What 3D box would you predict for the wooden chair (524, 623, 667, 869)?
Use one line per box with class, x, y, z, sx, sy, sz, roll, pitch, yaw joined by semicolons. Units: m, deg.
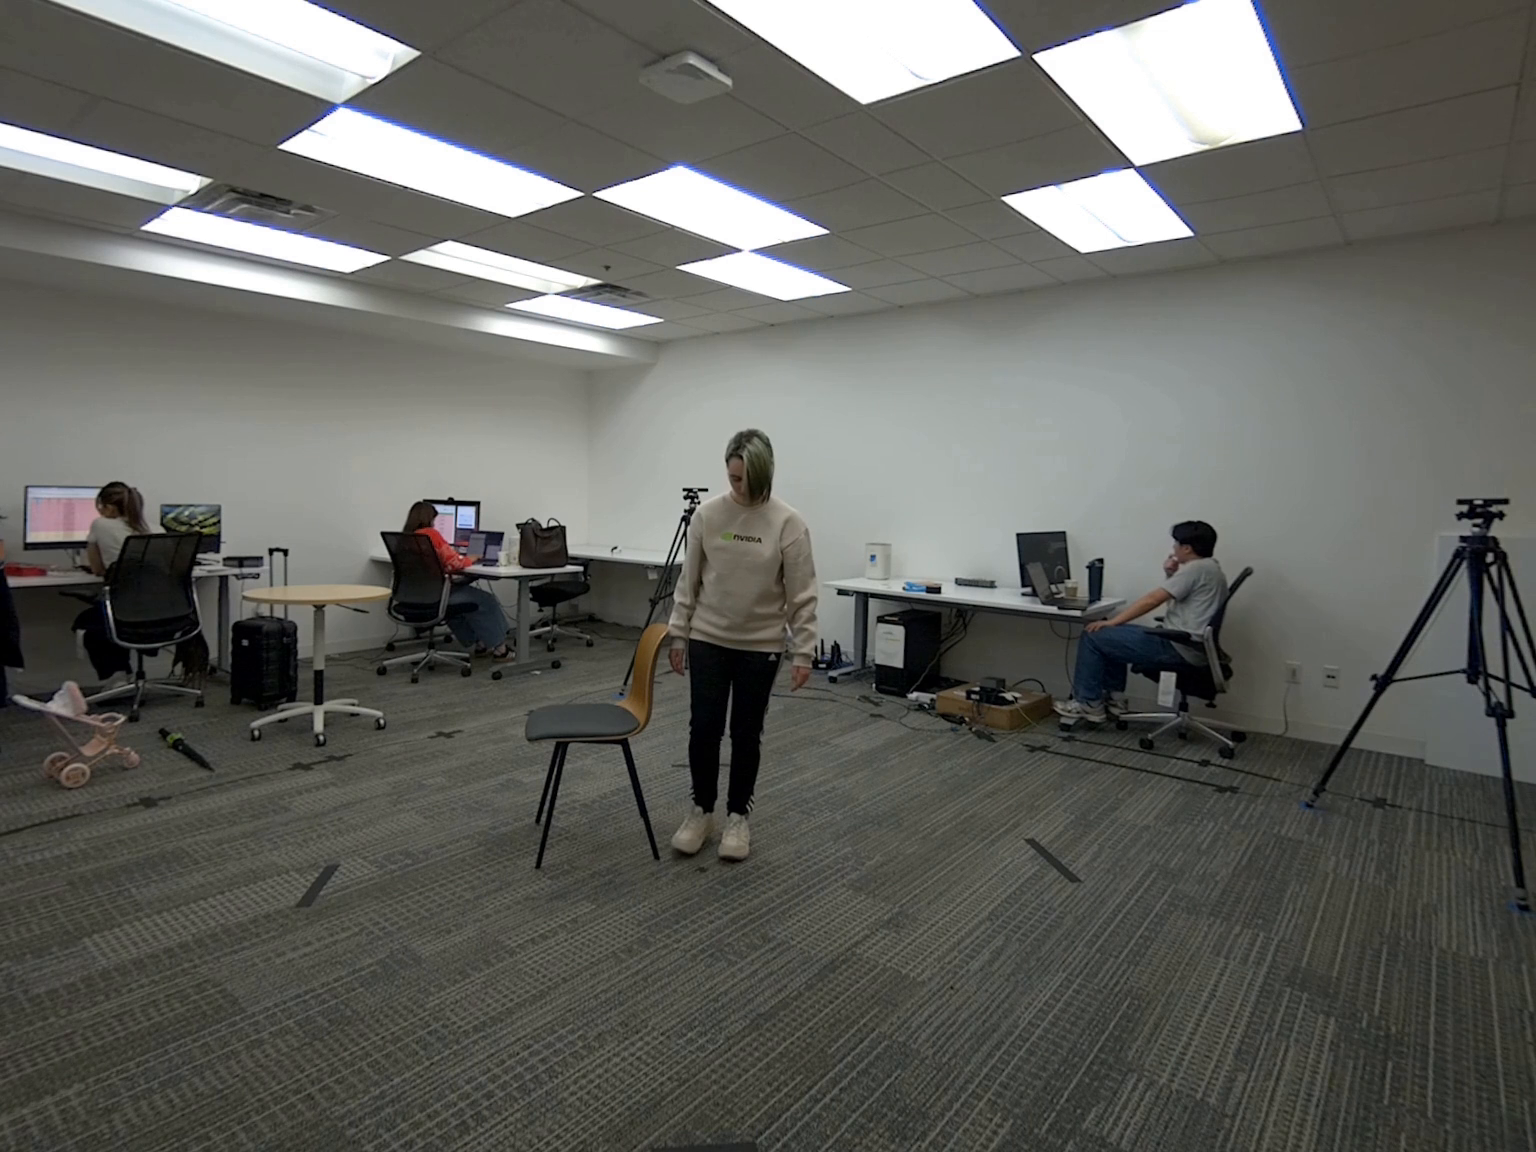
wooden chair;-0.694;0.617;3.308;0.514;0.875;0.487;4;3;-16
